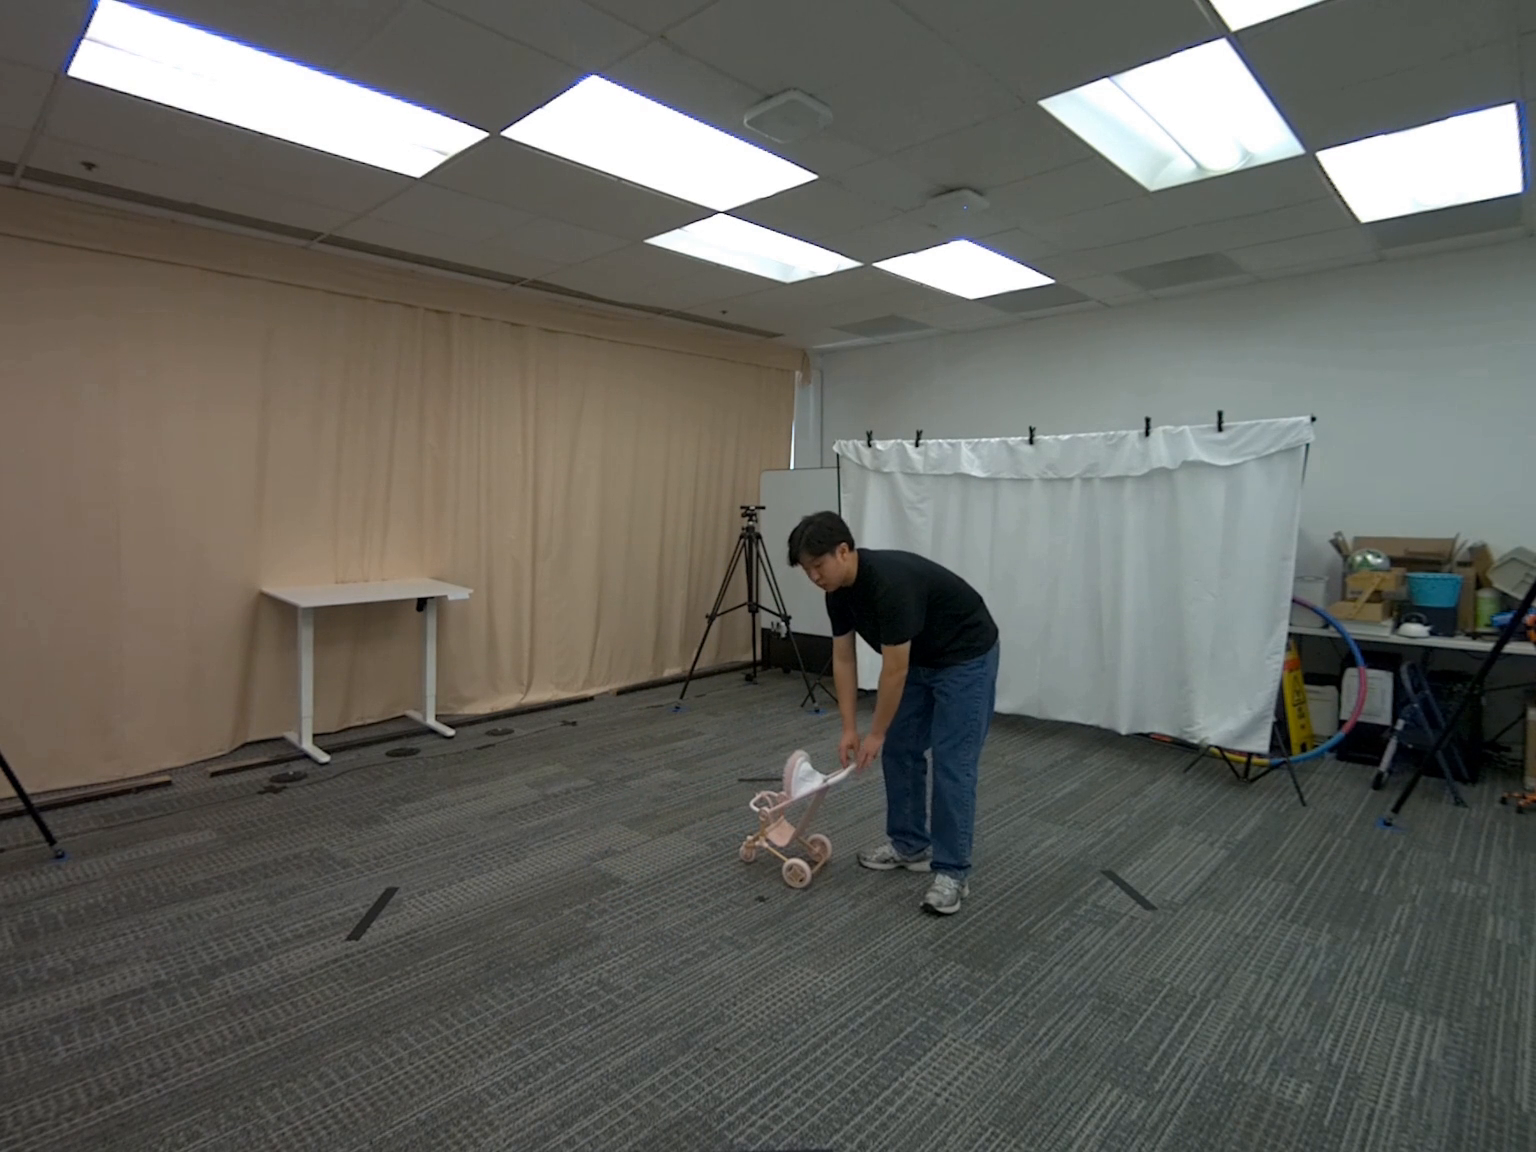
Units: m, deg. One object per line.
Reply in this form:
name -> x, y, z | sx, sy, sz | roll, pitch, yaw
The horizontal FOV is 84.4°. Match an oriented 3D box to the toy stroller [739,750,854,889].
toy stroller -> 0.090, 0.908, 3.199 | 0.351, 0.533, 0.274 | 20, 10, 25
